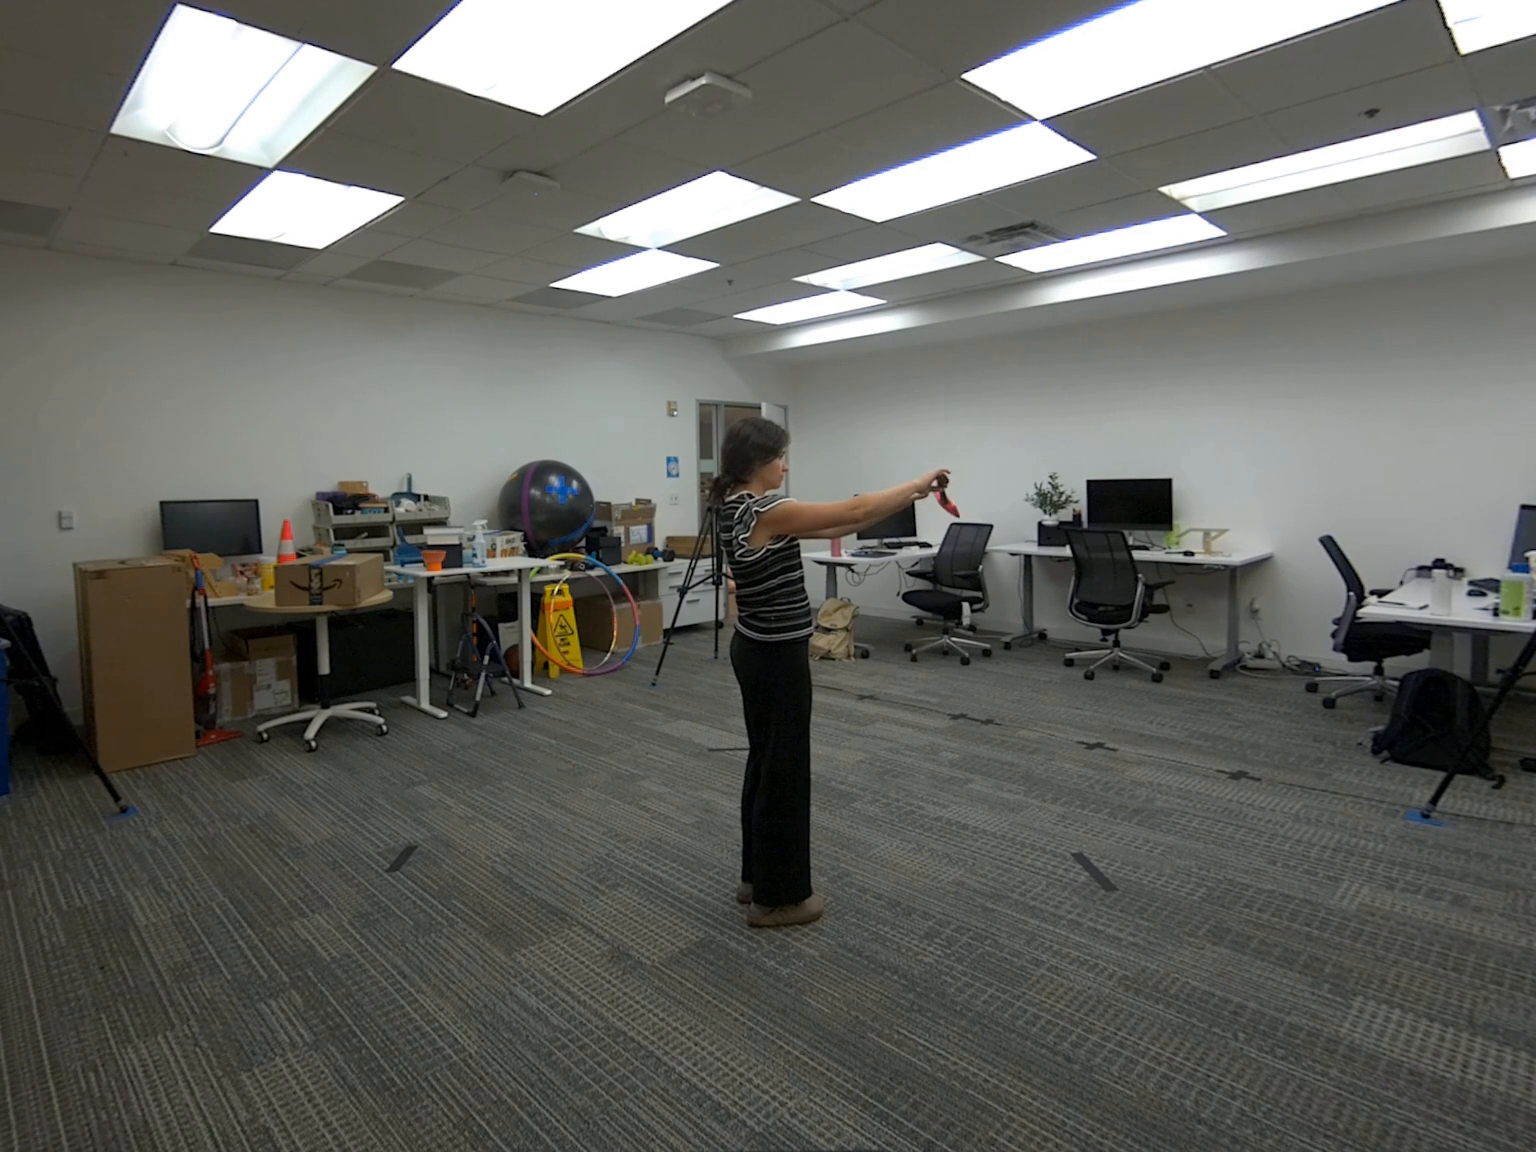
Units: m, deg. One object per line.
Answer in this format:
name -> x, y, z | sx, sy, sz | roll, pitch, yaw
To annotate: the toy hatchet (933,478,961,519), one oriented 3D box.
toy hatchet -> 0.584, -0.249, 2.756 | 0.029, 0.133, 0.266 | -35, -8, 2
